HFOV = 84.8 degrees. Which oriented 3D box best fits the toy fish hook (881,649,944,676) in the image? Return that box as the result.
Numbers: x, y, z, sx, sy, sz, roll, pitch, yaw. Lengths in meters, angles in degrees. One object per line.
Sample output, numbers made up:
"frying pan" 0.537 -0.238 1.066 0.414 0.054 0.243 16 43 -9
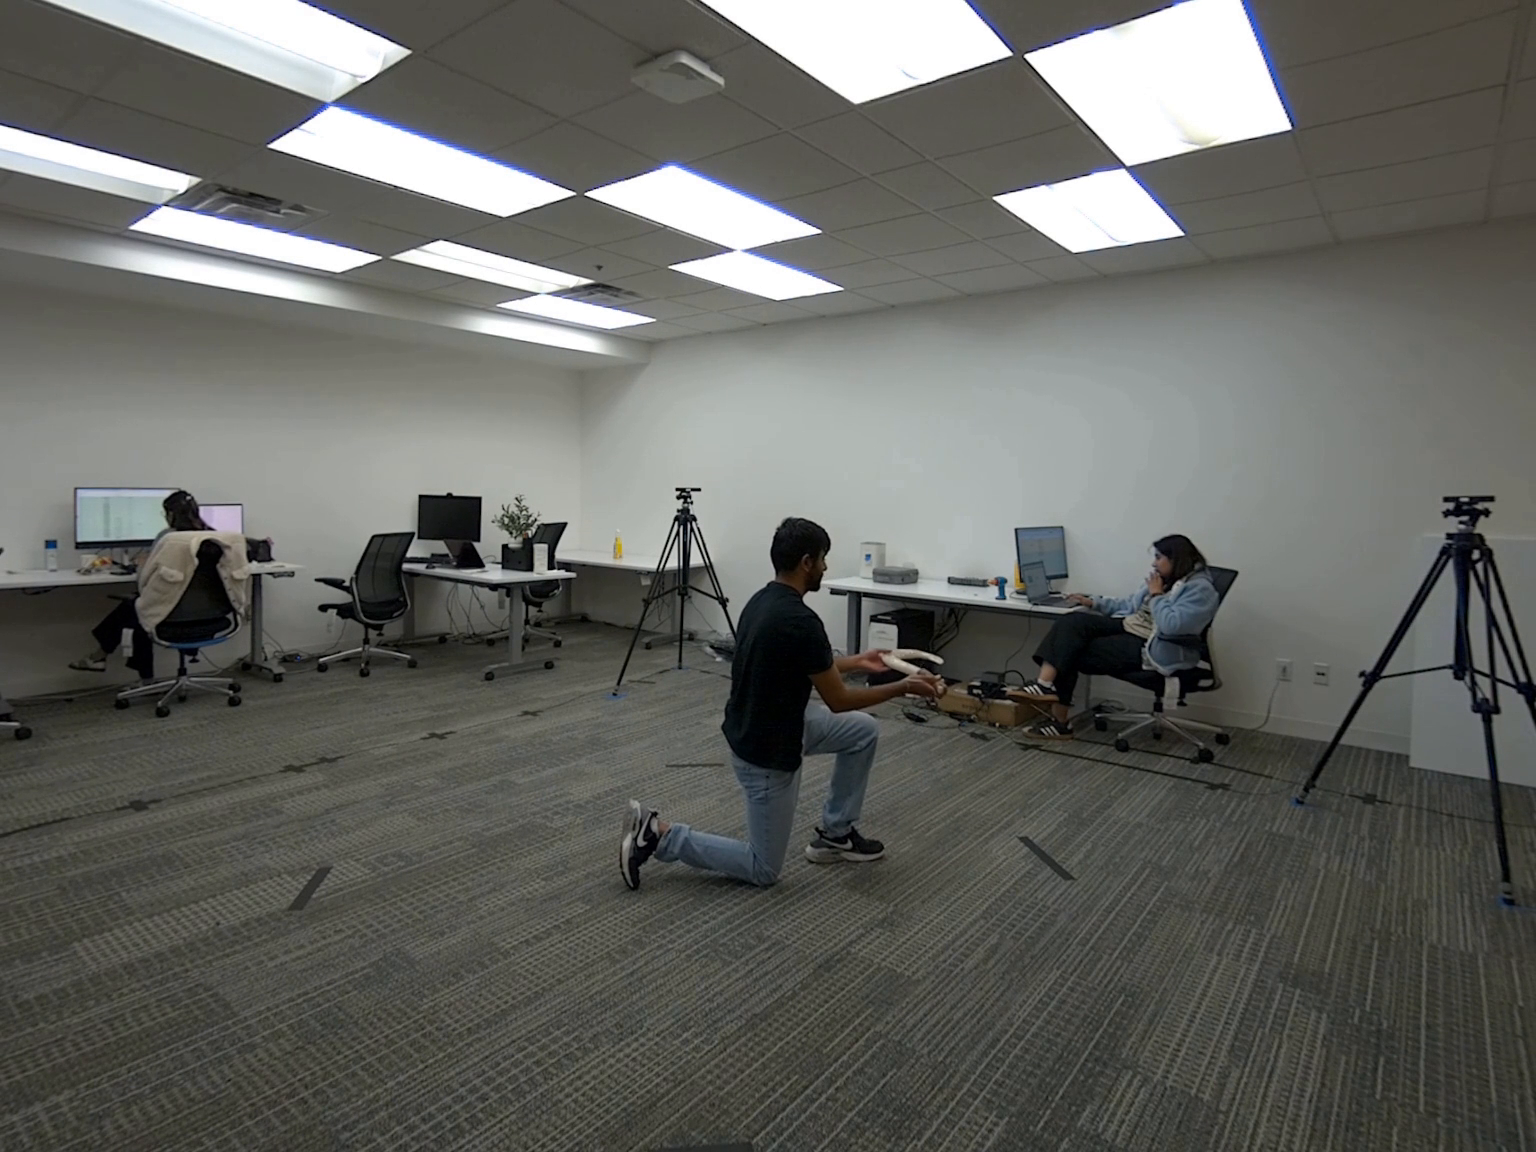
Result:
"toy fish hook" 0.590 0.351 3.183 0.222 0.048 0.518 -7 12 -14
